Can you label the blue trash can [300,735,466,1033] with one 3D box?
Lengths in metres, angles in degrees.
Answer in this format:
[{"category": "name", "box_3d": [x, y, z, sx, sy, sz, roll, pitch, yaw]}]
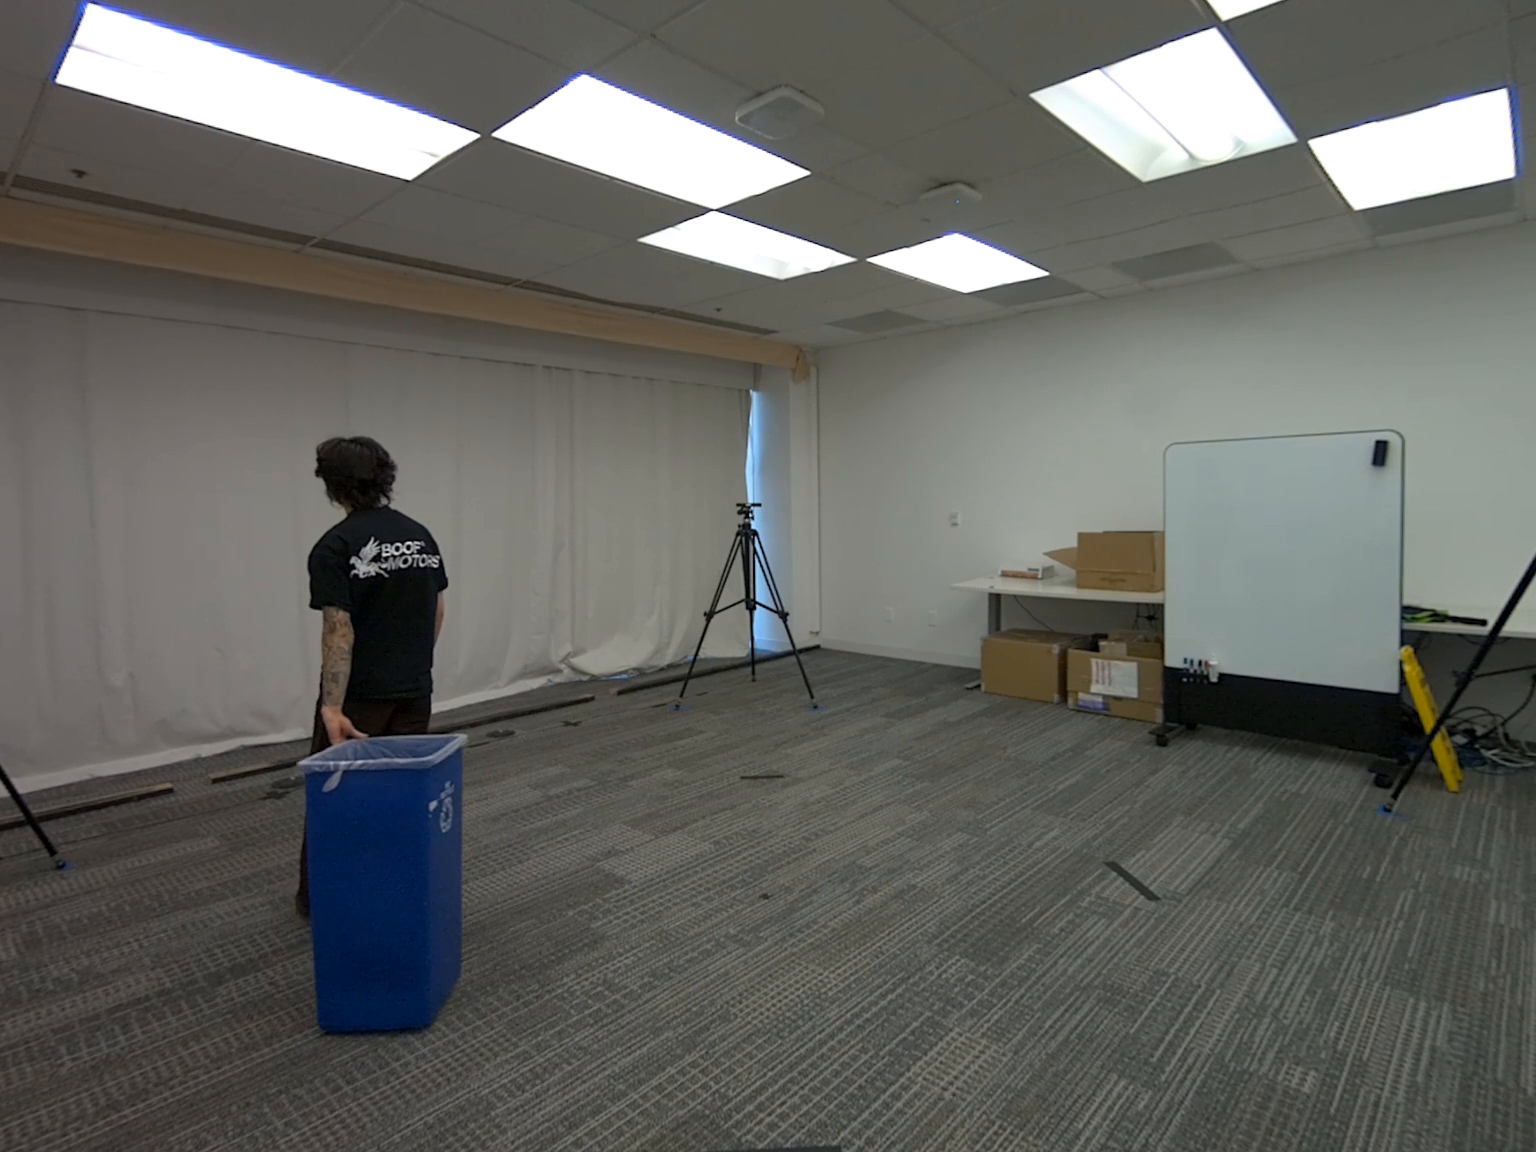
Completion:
[{"category": "blue trash can", "box_3d": [-1.069, 0.843, 2.390, 0.378, 0.715, 0.374, -3, -2, -2]}]
